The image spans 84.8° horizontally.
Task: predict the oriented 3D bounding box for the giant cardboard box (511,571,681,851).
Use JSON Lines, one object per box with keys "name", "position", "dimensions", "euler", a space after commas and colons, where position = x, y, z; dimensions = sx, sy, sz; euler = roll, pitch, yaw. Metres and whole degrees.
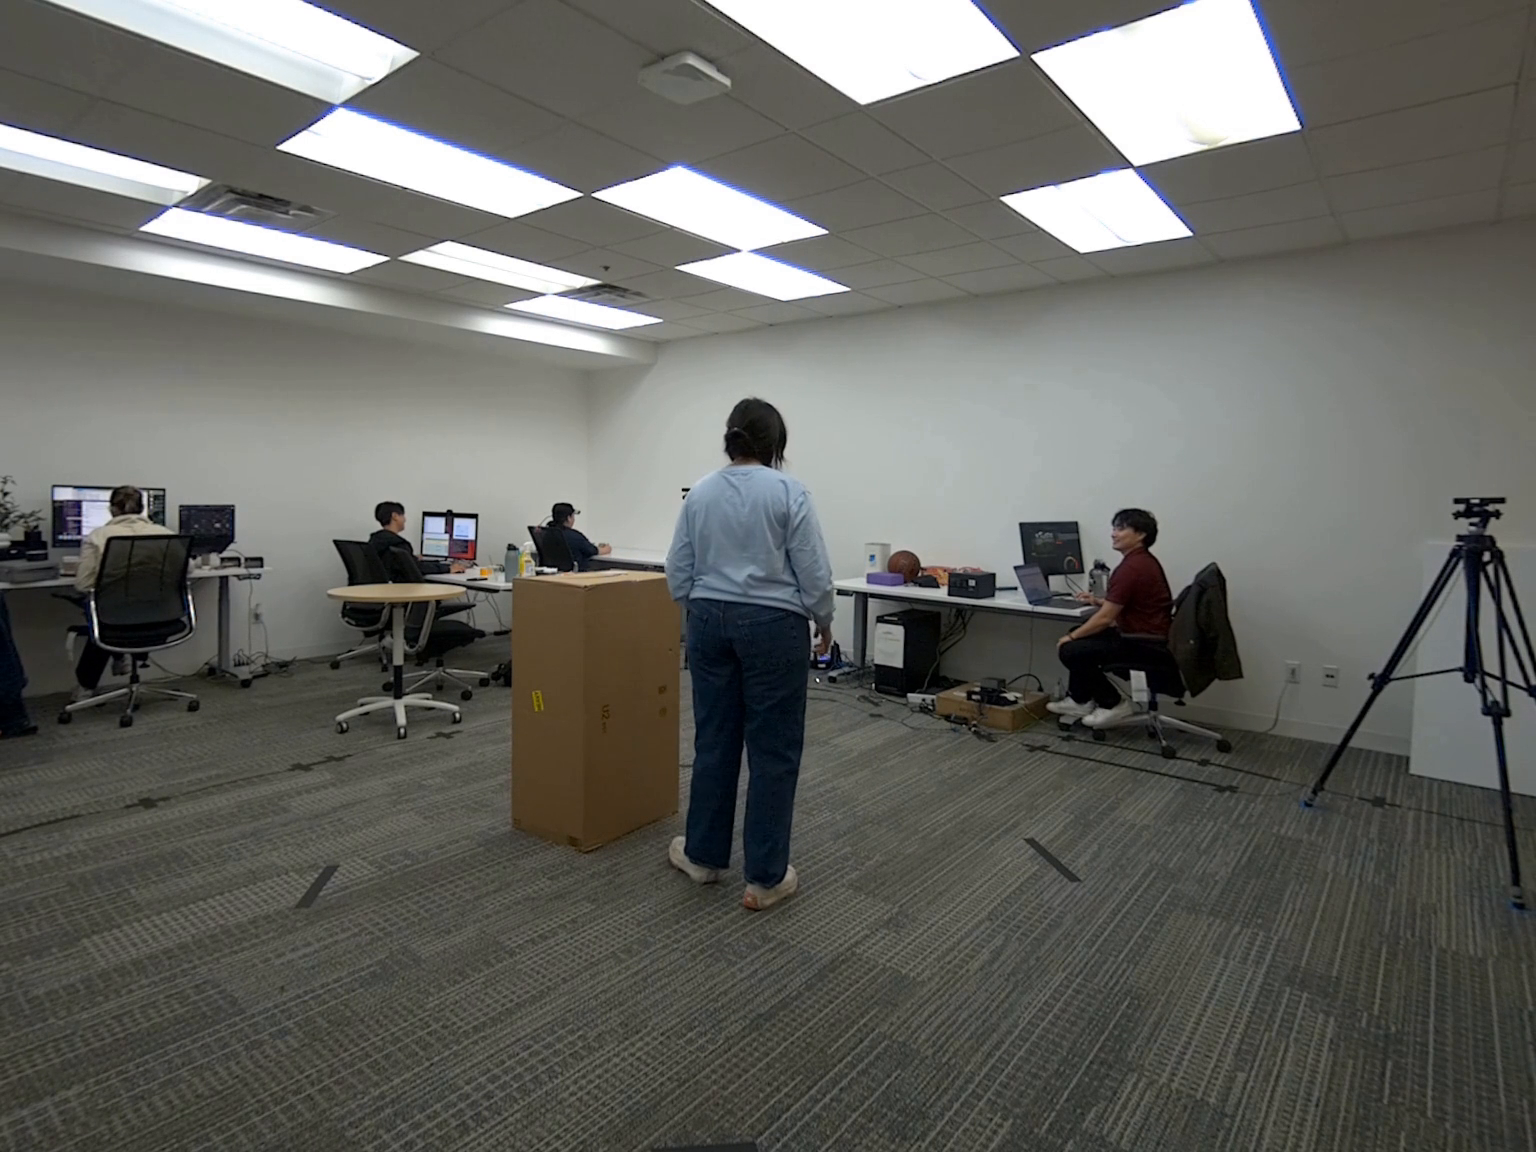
{"name": "giant cardboard box", "position": [-0.726, 0.508, 3.559], "dimensions": [0.461, 1.025, 0.567], "euler": [2, 3, 37]}
